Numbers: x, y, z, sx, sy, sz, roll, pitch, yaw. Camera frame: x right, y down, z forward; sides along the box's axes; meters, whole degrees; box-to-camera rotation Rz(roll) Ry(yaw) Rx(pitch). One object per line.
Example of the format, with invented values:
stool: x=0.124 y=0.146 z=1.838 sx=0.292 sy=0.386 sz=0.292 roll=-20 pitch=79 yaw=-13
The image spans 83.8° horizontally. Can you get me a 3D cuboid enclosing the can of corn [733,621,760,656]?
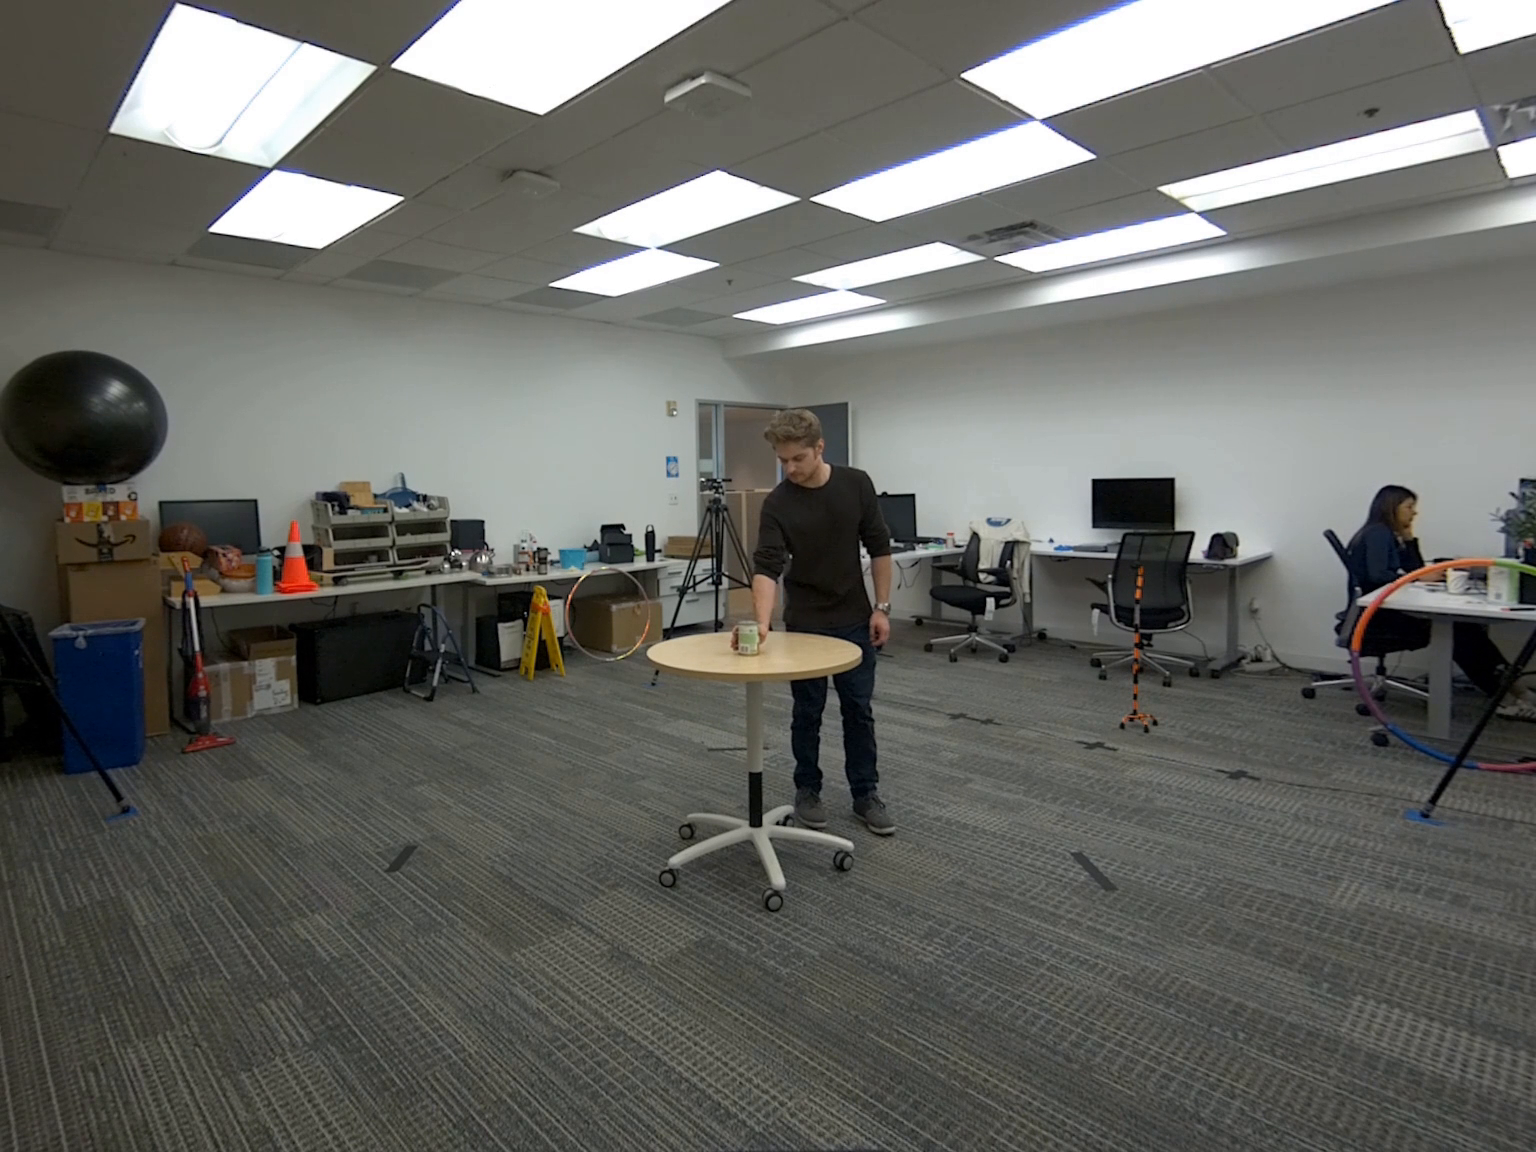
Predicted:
can of corn: x=-0.070 y=0.220 z=2.976 sx=0.074 sy=0.111 sz=0.074 roll=0 pitch=4 yaw=-2
